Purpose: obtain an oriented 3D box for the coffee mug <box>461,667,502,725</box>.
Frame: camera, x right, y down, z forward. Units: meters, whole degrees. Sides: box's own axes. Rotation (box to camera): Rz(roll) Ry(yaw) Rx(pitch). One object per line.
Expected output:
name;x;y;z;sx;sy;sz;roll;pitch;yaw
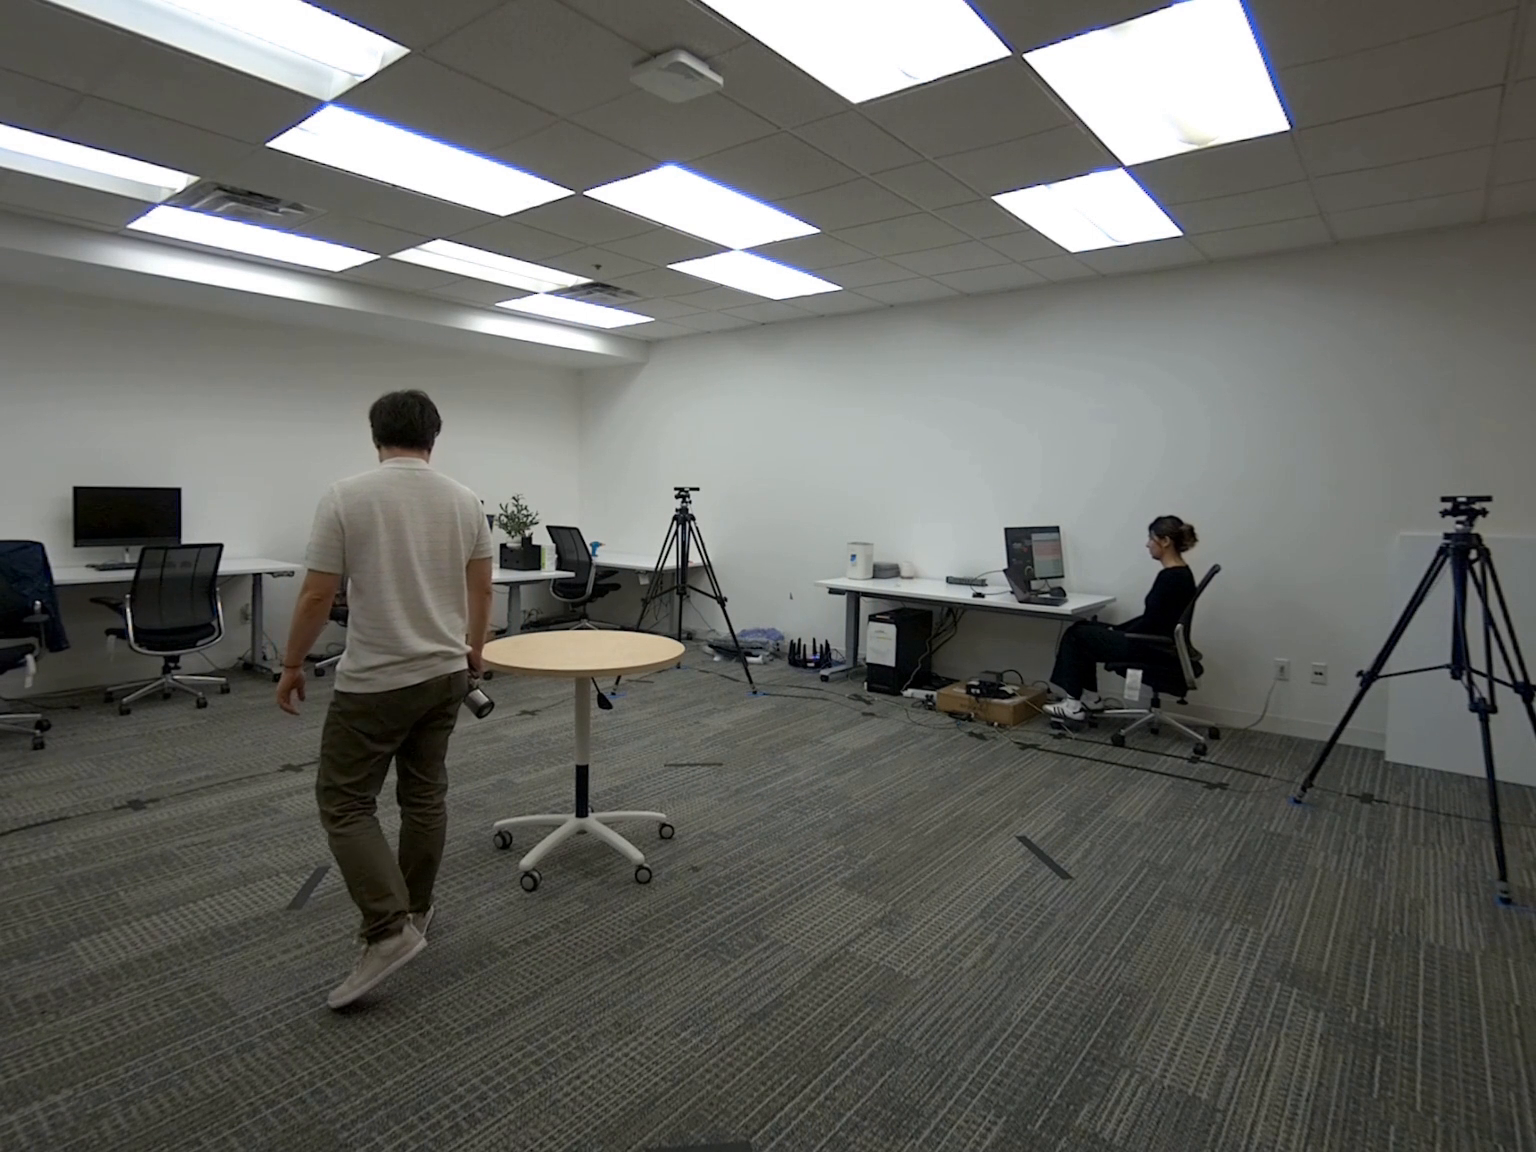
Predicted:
coffee mug;-0.987;0.367;2.803;0.209;0.120;0.087;41;50;22
